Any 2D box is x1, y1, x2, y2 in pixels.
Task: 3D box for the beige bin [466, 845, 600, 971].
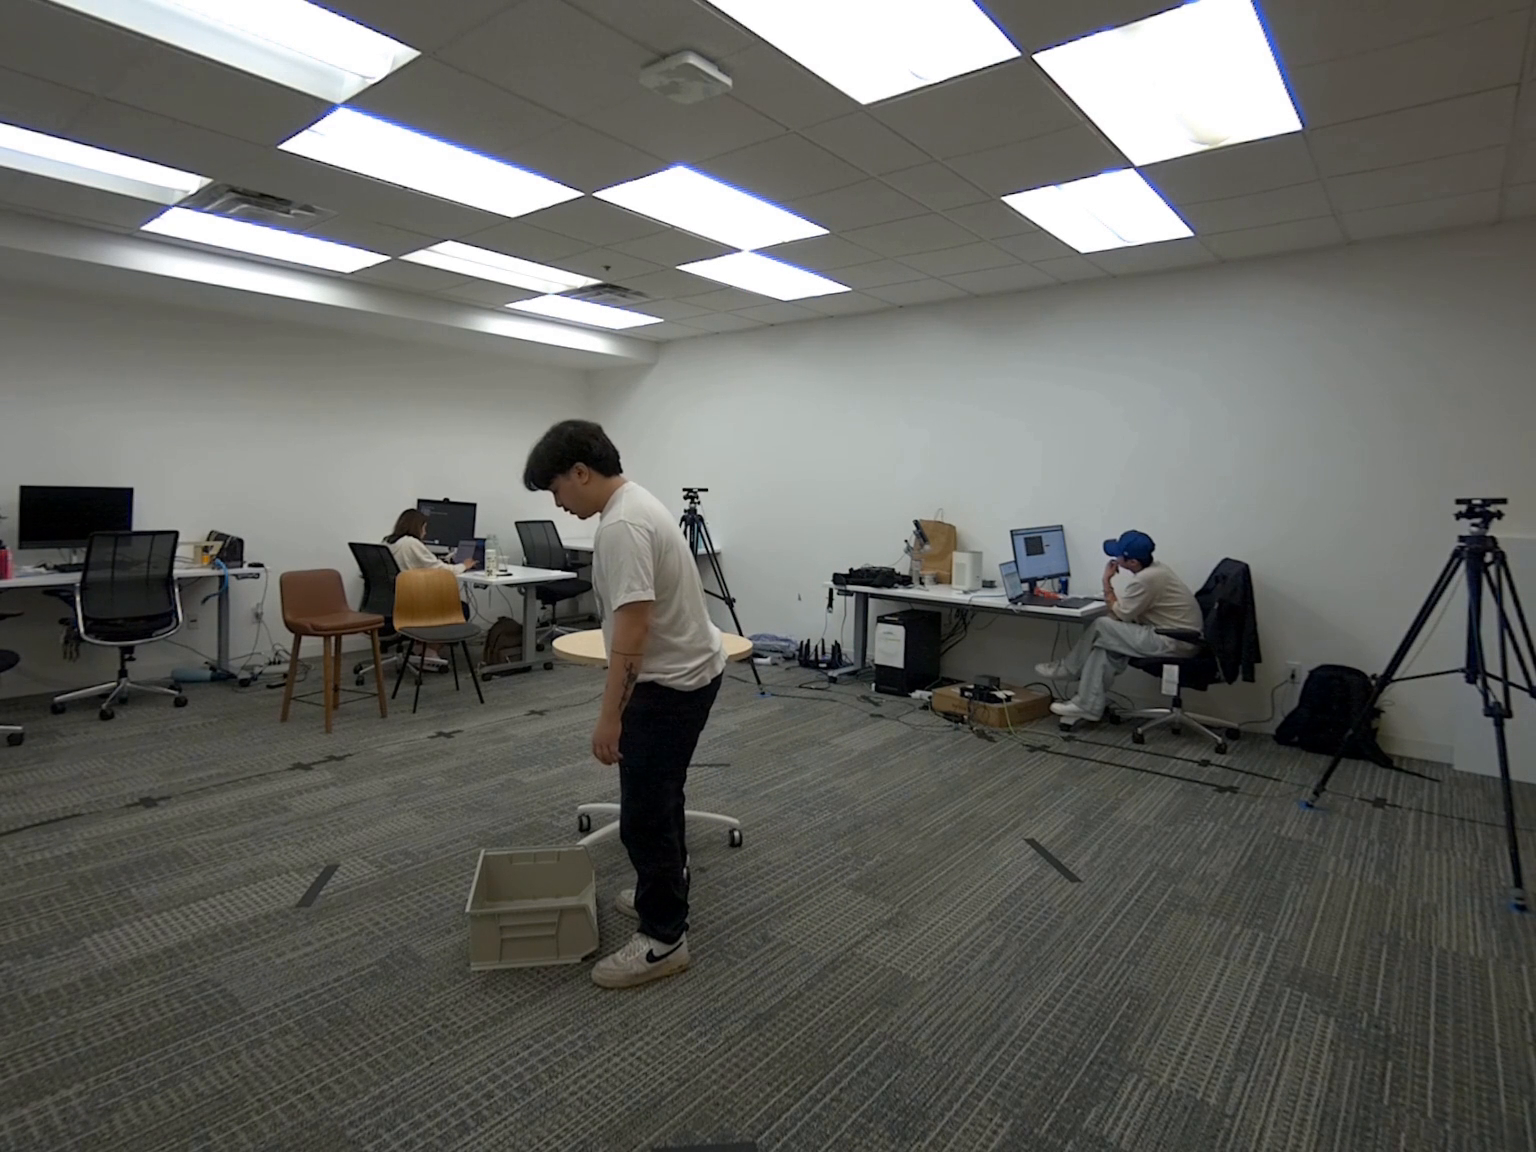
[{"bbox_3d":[-0.738,1.019,2.652,0.373,0.188,0.429,-1,6,-12],"label":"beige bin"}]
